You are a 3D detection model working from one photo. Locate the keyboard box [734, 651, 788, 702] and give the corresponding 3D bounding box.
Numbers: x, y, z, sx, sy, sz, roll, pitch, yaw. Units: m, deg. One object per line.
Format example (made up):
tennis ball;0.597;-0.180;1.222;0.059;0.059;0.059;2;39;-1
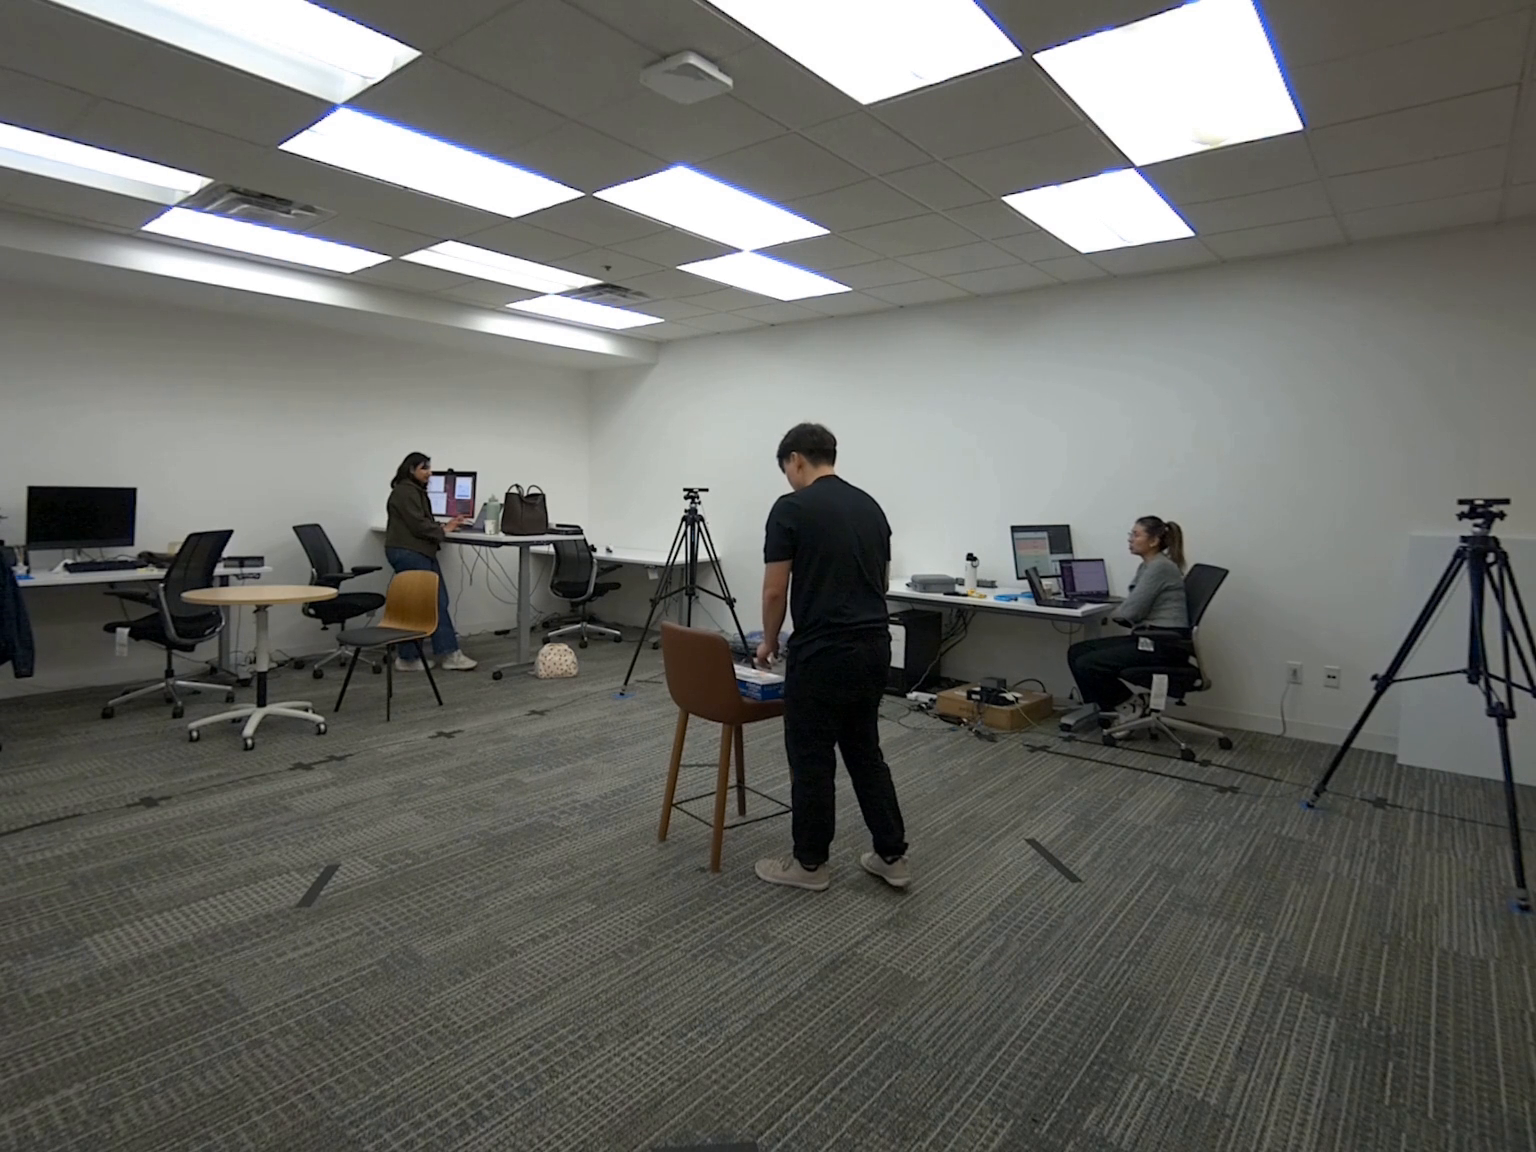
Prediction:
keyboard box;-0.114;0.404;3.345;0.170;0.059;0.452;-2;6;-40
